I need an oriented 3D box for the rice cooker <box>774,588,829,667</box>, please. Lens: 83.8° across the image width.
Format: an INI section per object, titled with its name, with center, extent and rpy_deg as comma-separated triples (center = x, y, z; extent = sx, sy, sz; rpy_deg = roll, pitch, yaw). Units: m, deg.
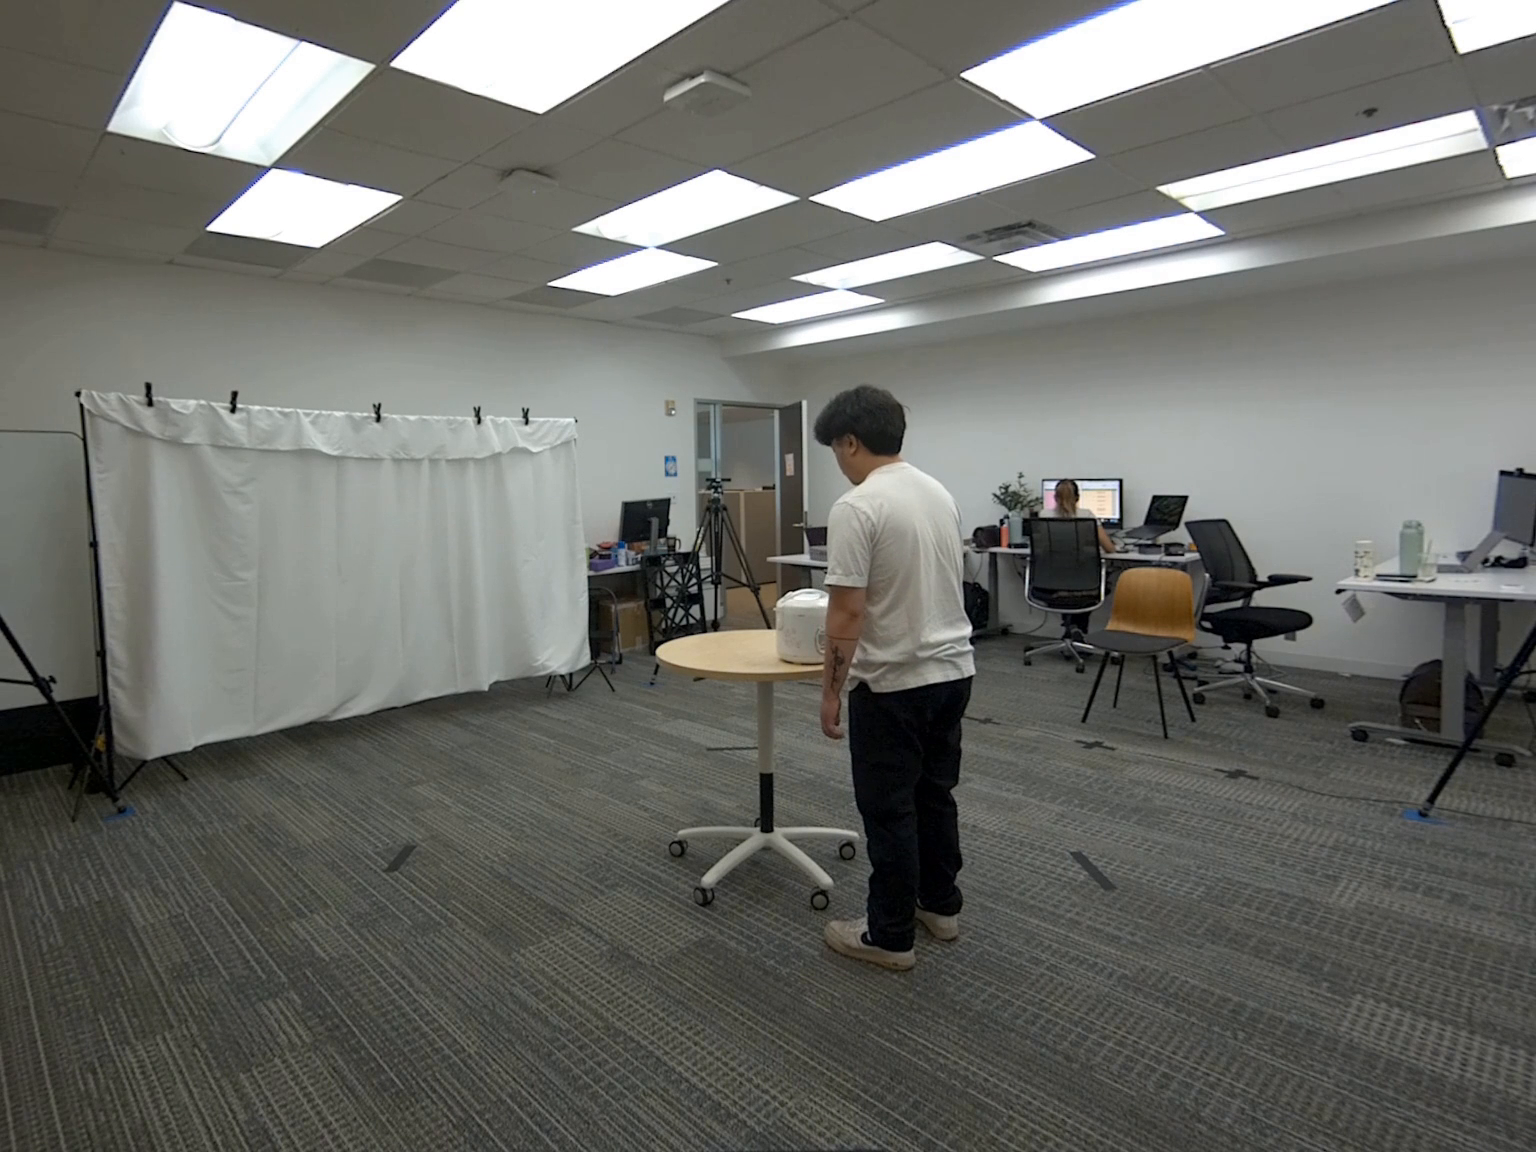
[rice cooker]
center = 0.134, 0.159, 2.804
extent = 0.216, 0.232, 0.222
rpy_deg = -4, 5, -24
